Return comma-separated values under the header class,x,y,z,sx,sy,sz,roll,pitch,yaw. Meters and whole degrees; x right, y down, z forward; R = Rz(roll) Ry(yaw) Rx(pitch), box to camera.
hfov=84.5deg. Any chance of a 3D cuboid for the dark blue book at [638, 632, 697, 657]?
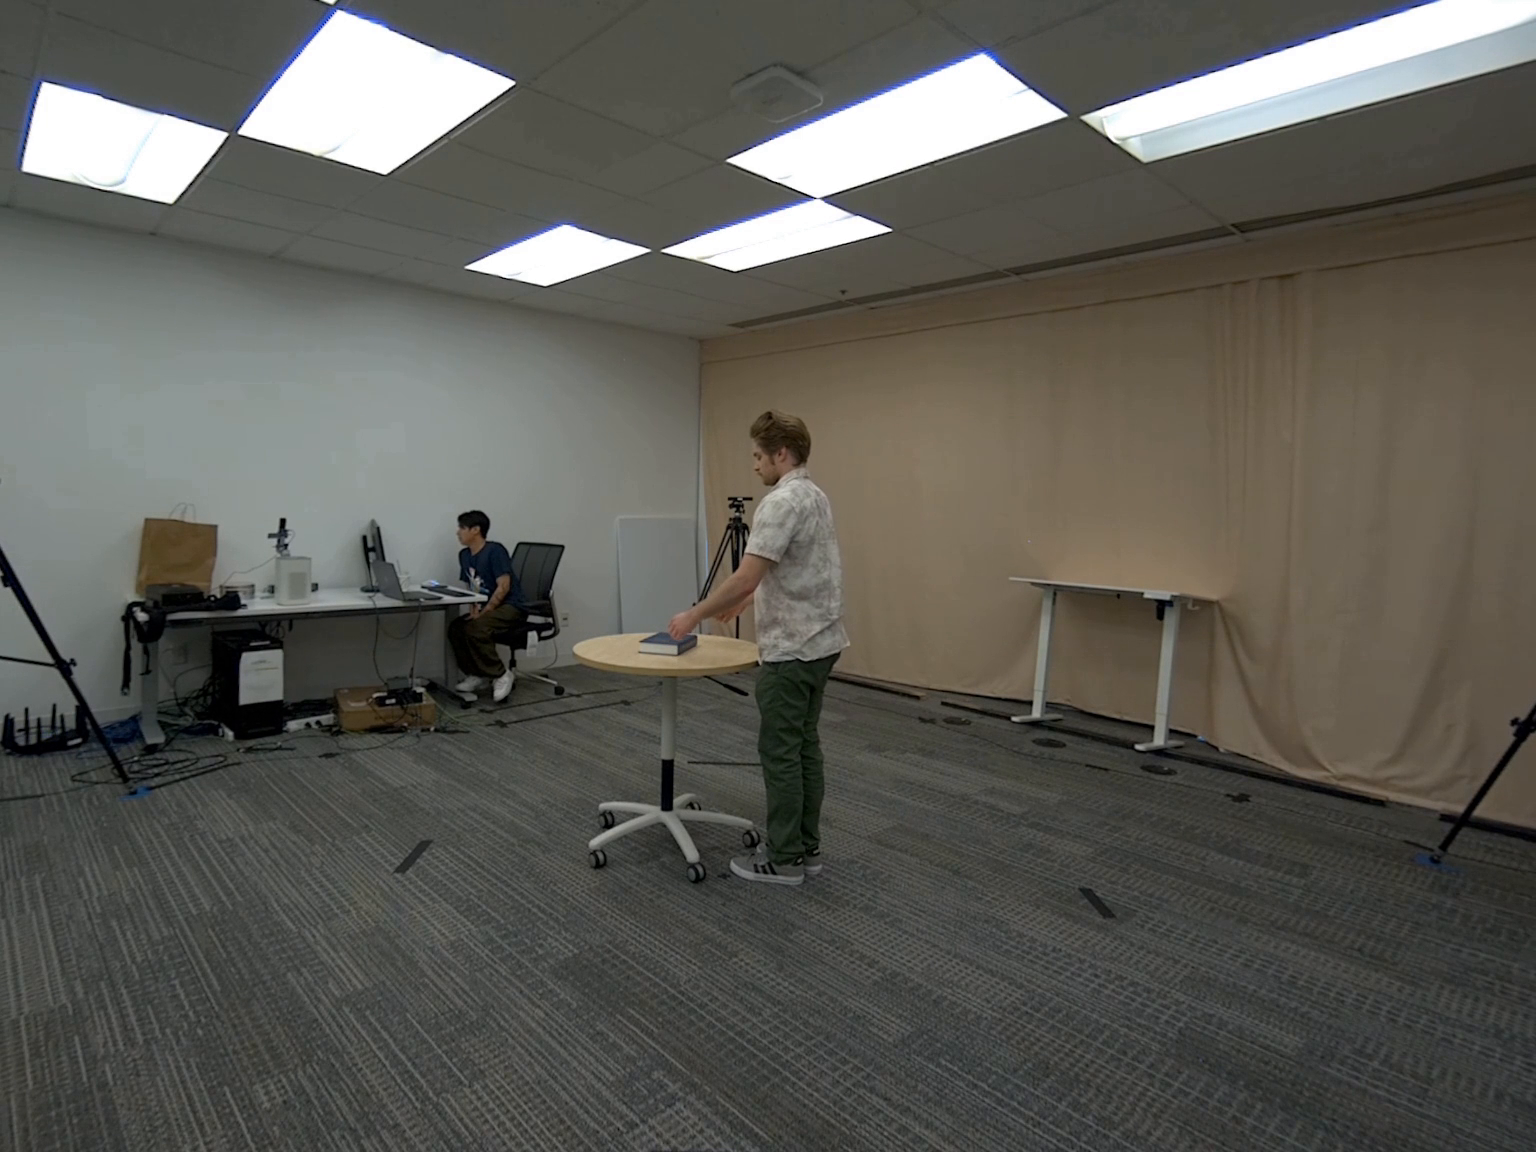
class,x,y,z,sx,sy,sz,roll,pitch,yaw
dark blue book,-0.401,0.266,3.339,0.165,0.045,0.243,3,6,13
